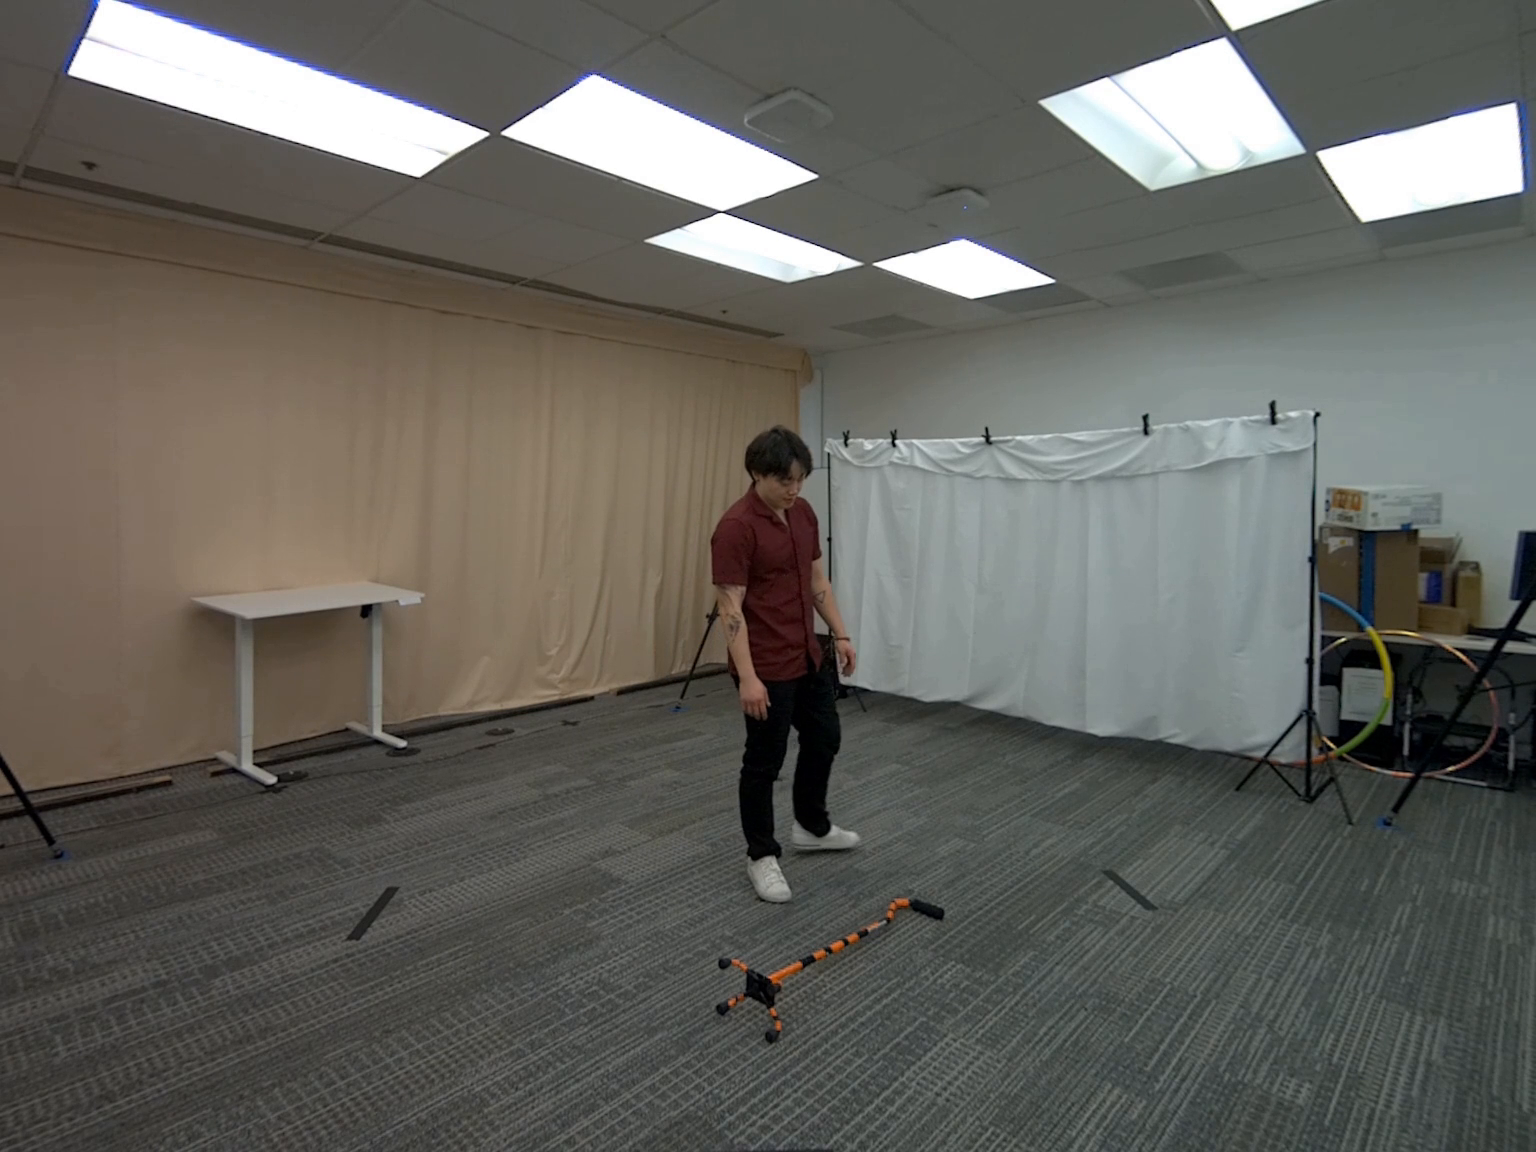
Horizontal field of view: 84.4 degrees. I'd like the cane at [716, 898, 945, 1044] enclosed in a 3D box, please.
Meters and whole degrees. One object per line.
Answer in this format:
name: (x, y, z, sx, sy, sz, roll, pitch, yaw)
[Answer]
cane: (0.237, 1.132, 2.571, 0.213, 0.151, 0.878, 4, 2, 42)
